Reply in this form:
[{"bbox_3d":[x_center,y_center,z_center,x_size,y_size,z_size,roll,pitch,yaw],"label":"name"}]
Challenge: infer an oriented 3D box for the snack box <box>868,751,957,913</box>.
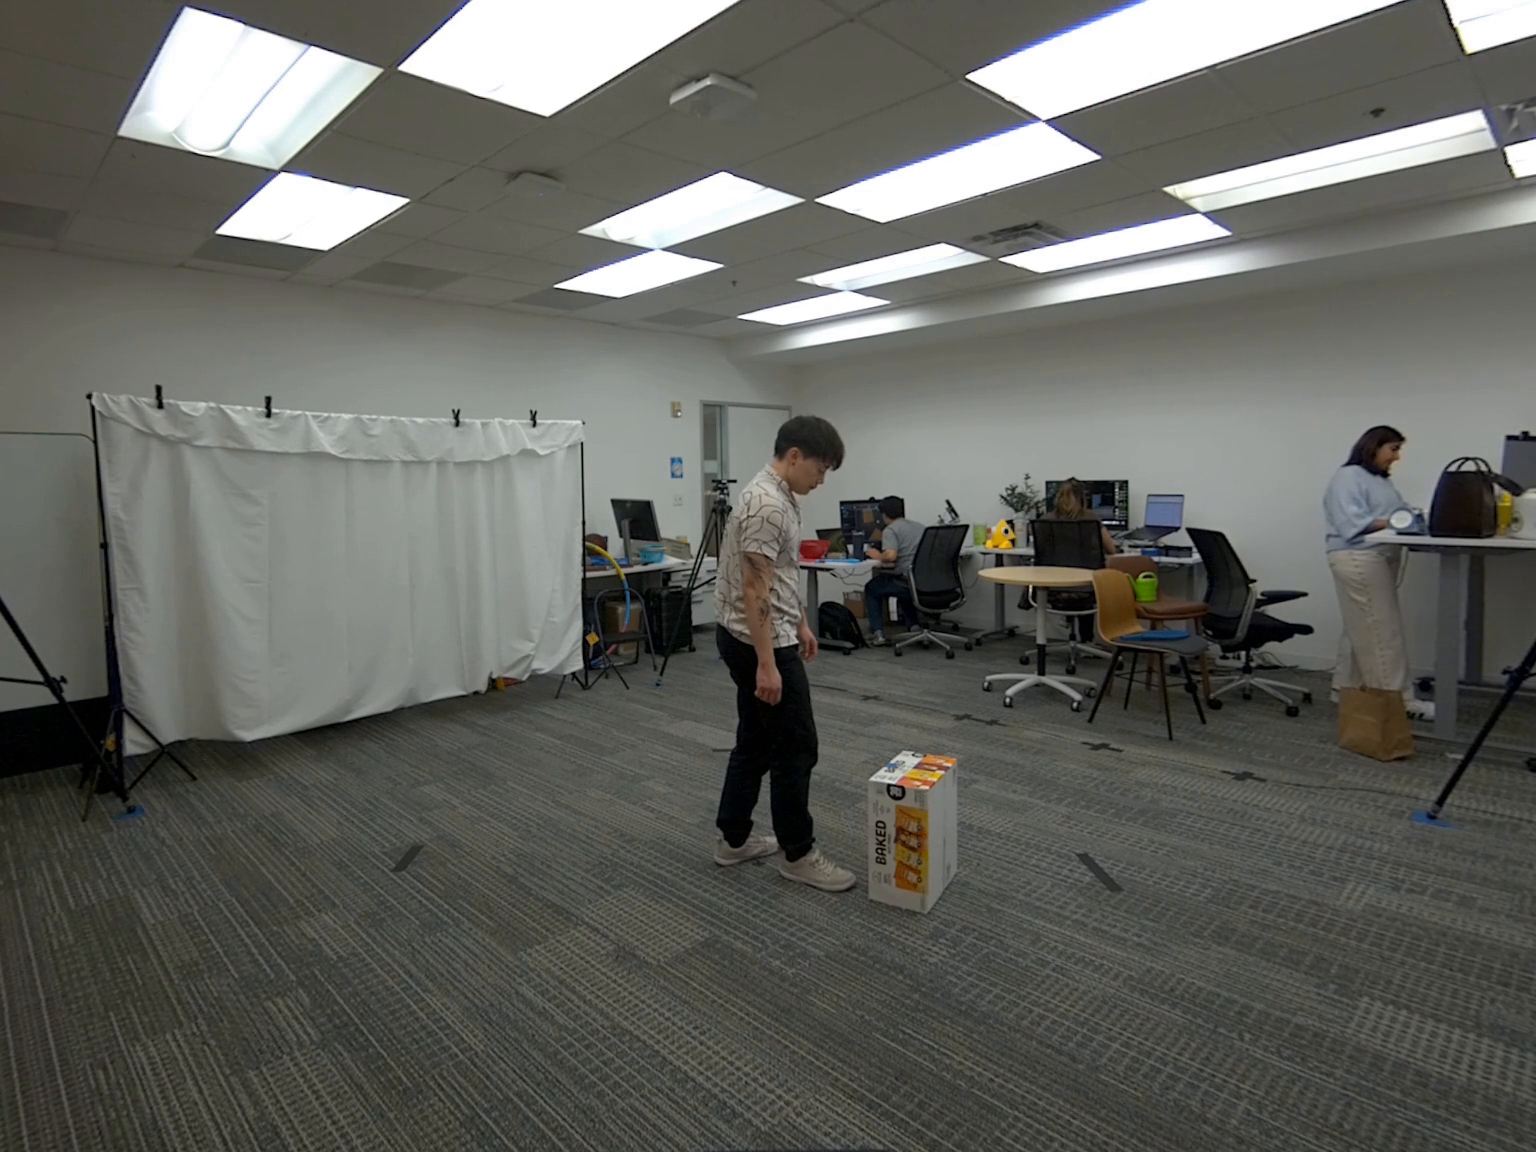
[{"bbox_3d":[0.503,0.855,2.906,0.211,0.404,0.333,1,5,30],"label":"snack box"}]
